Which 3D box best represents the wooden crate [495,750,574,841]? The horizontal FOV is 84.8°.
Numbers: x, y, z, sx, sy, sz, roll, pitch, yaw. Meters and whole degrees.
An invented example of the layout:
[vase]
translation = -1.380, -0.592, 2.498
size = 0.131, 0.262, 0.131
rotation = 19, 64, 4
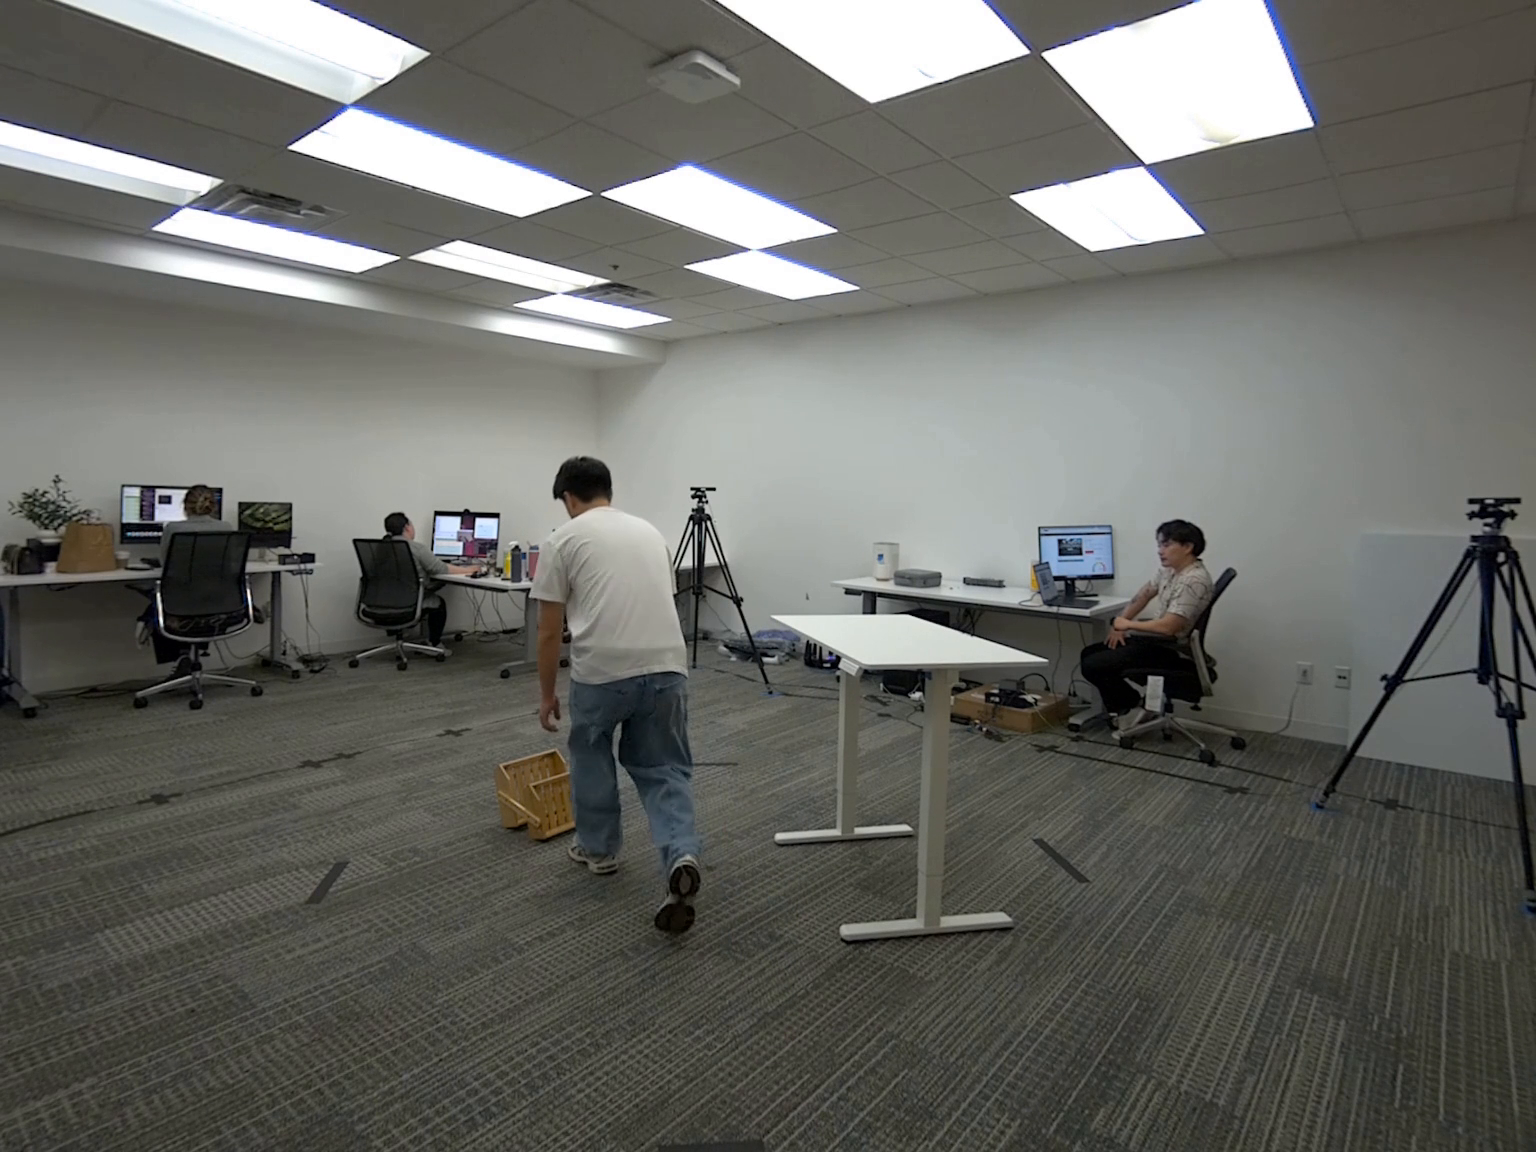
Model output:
[wooden crate]
translation = -0.917, 0.881, 3.499
size = 0.279, 0.305, 0.315
rotation = -17, -8, 36
